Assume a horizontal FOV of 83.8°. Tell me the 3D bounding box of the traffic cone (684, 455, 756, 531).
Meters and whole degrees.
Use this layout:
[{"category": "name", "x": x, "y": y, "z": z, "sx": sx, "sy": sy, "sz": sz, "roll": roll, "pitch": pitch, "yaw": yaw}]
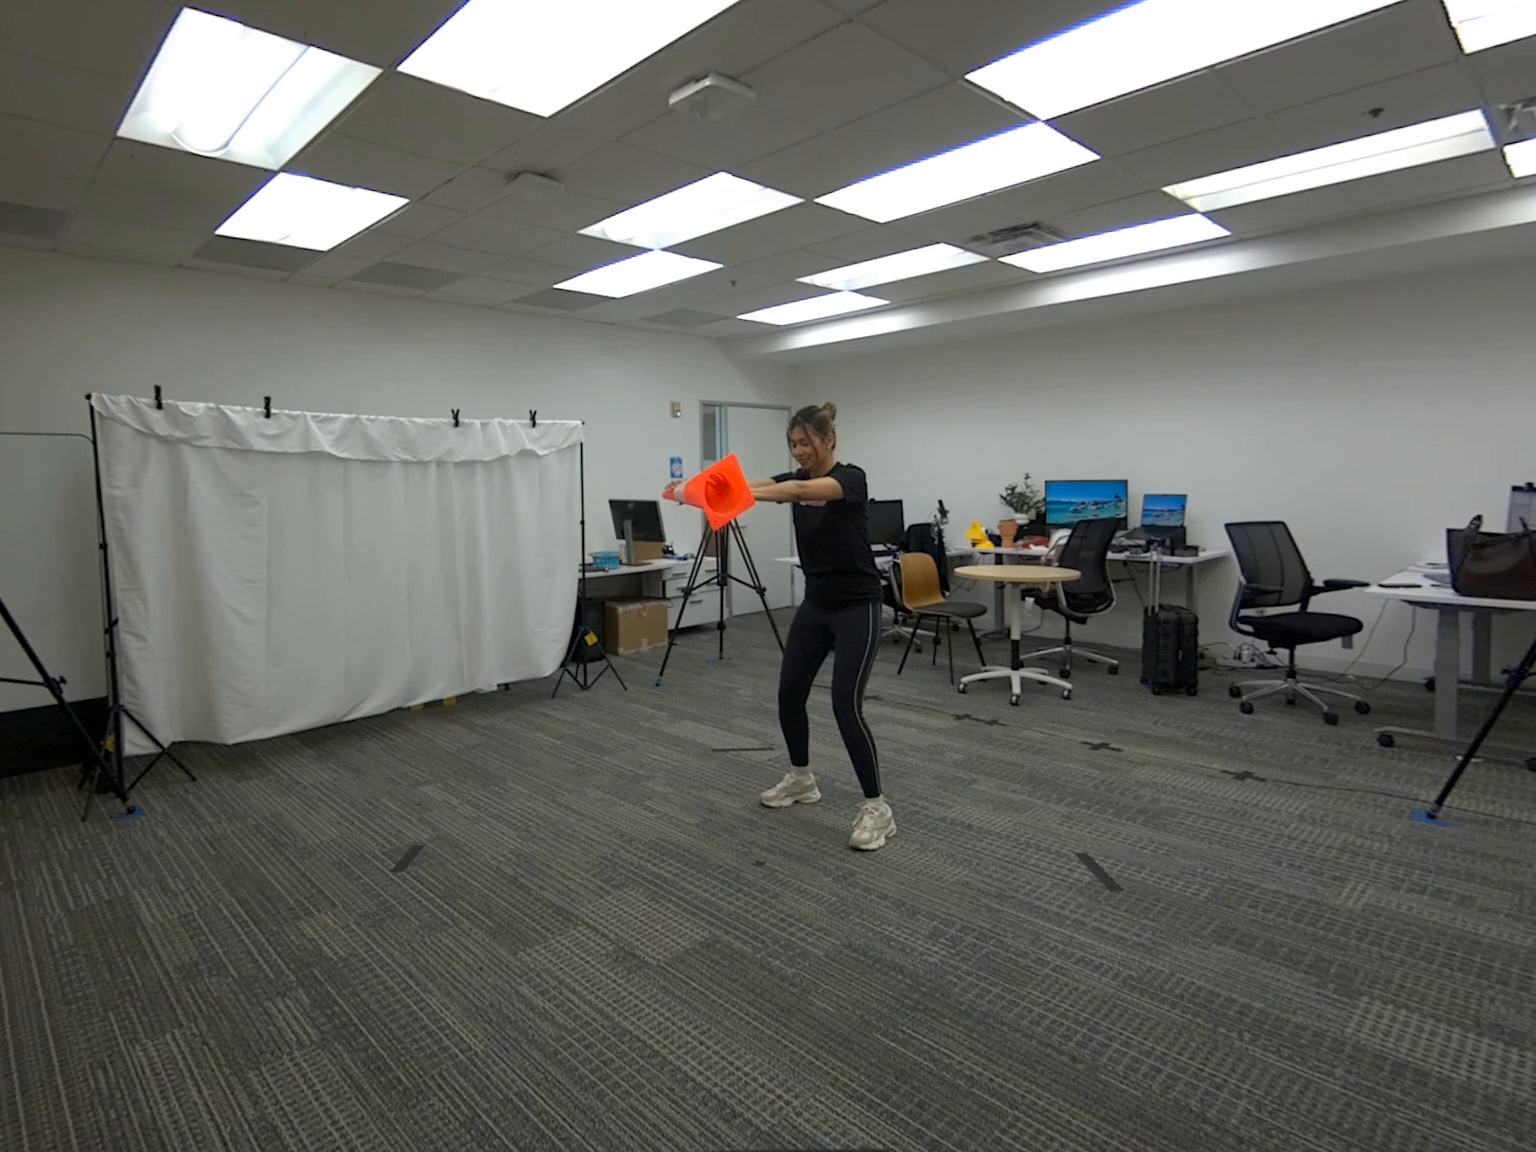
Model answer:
[{"category": "traffic cone", "x": -0.260, "y": -0.281, "z": 3.027, "sx": 0.202, "sy": 0.201, "sz": 0.394, "roll": -35, "pitch": 21, "yaw": -29}]
